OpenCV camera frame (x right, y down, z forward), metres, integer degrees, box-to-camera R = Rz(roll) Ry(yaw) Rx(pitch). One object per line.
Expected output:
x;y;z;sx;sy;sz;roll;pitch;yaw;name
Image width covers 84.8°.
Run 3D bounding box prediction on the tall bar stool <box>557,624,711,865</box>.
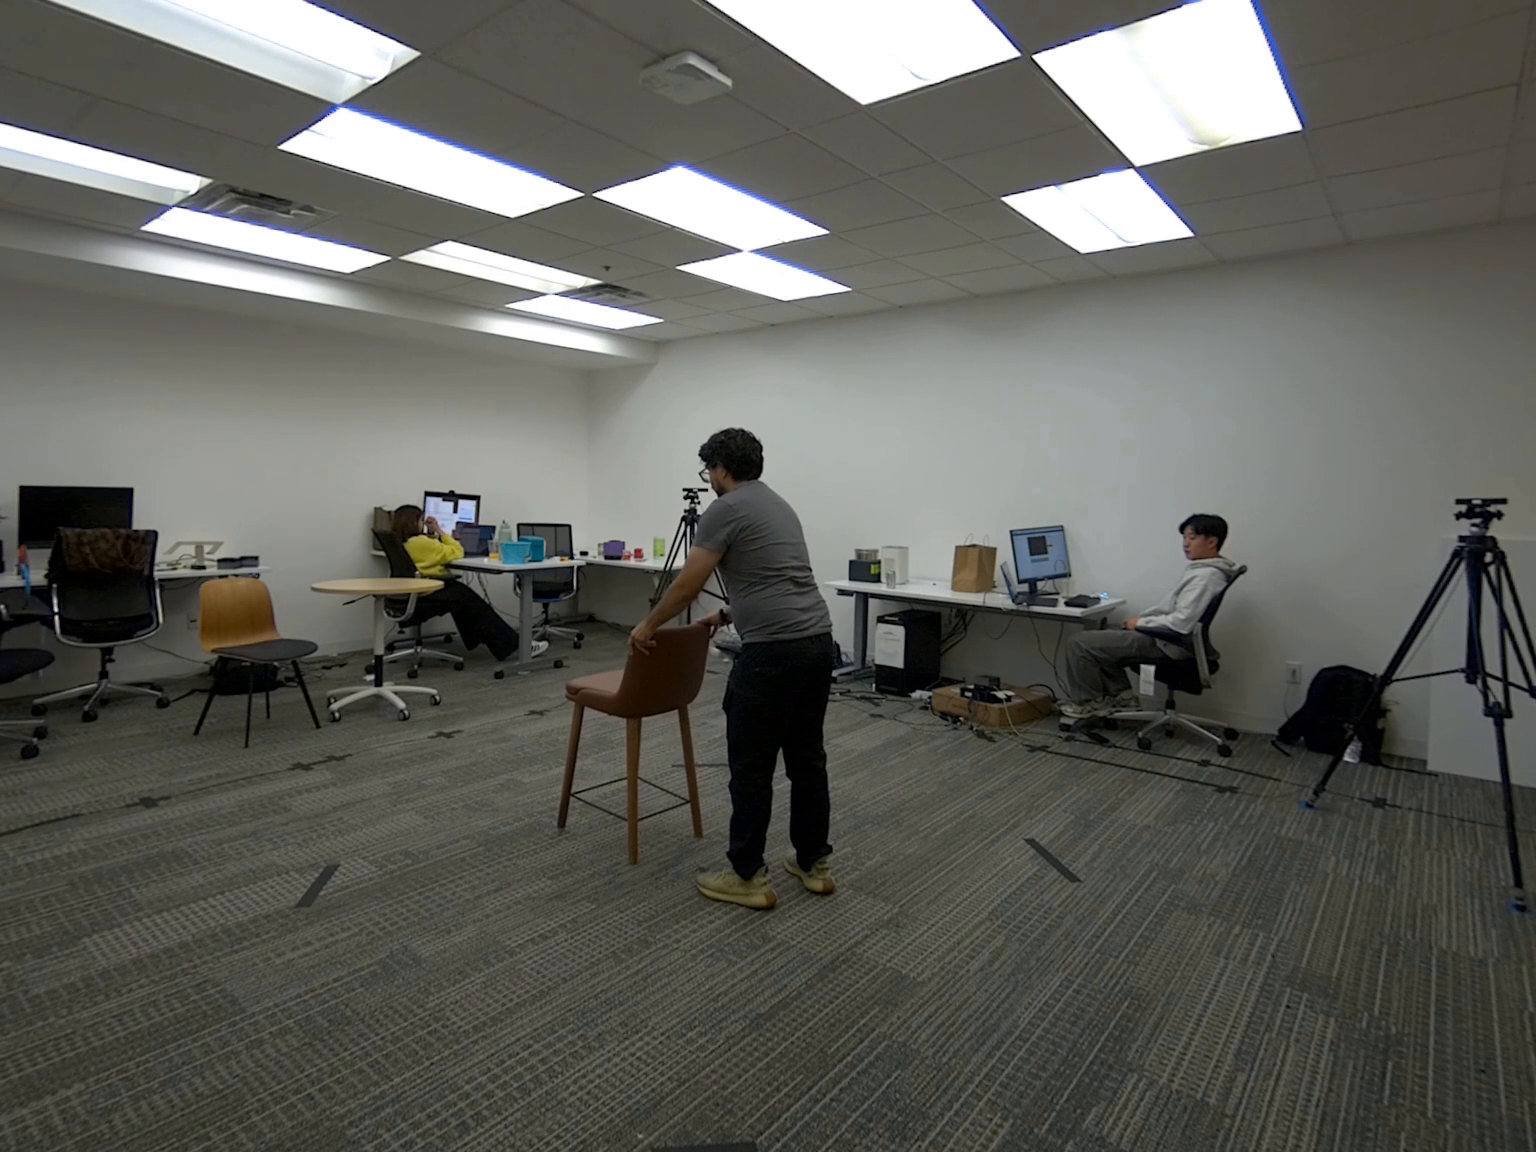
-0.537;0.595;3.391;0.484;0.886;0.442;9;7;41;tall bar stool
